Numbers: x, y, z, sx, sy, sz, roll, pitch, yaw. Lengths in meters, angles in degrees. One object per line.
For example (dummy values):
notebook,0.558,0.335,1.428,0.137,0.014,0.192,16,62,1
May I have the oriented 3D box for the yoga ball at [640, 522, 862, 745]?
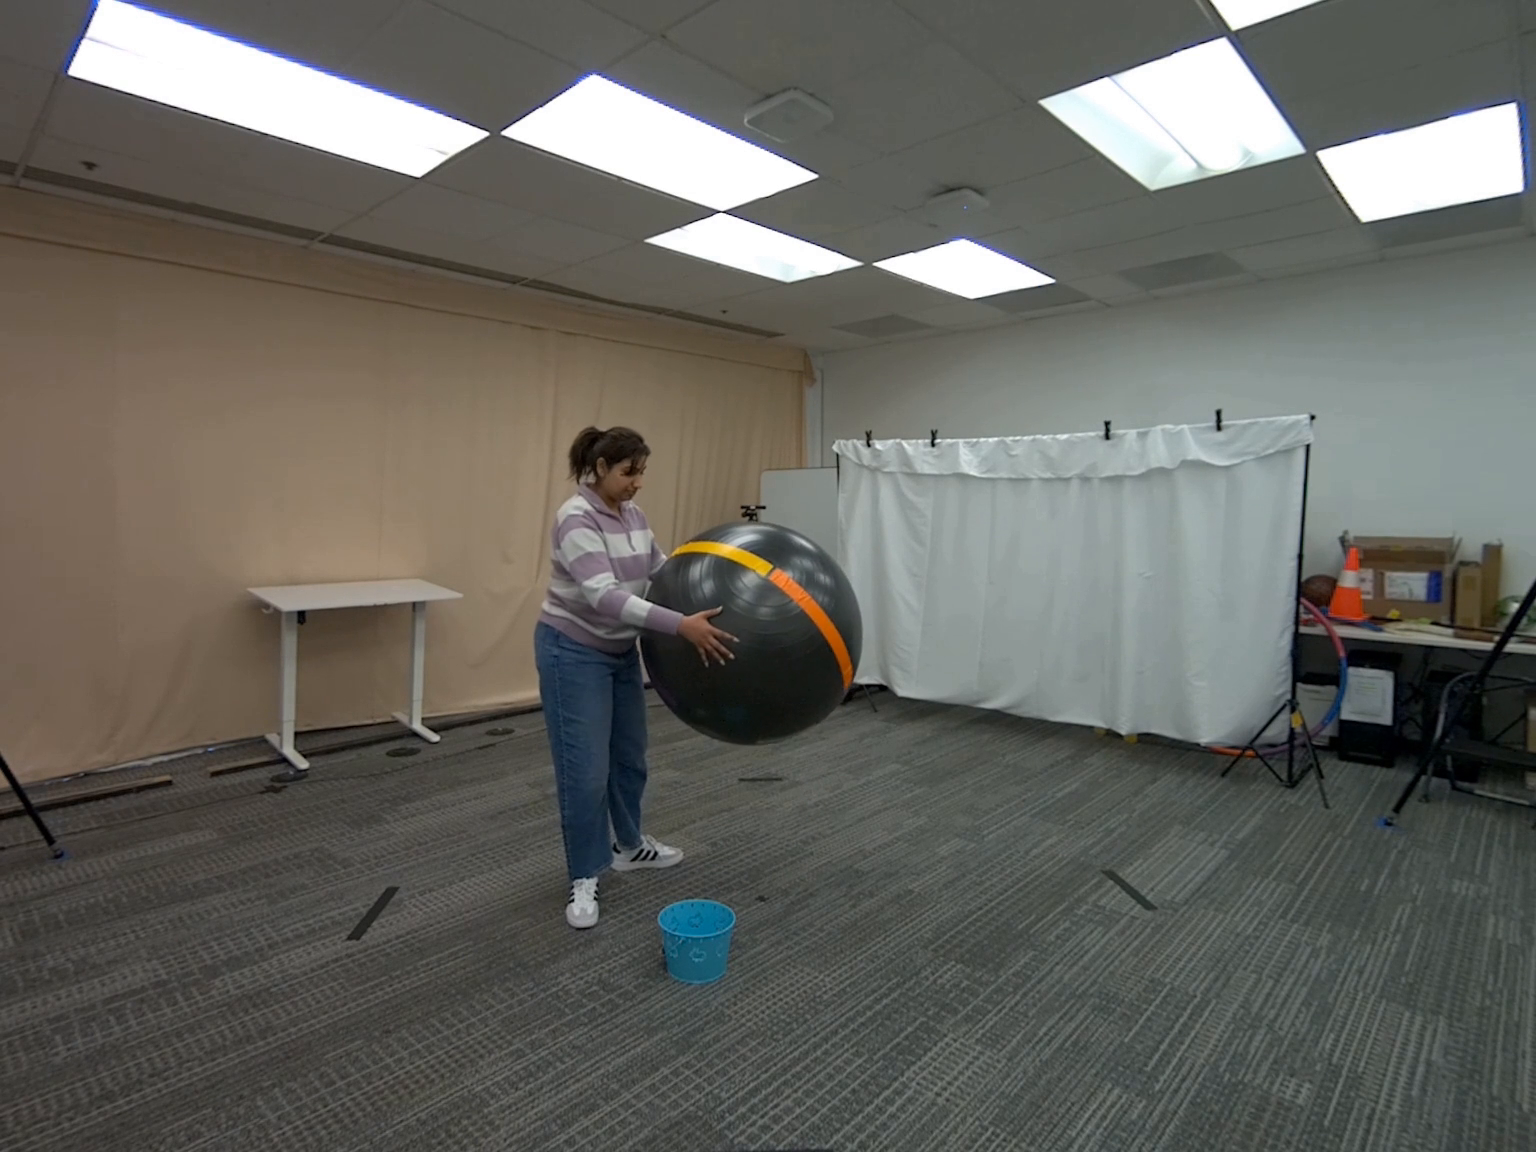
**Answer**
yoga ball,-0.059,0.199,2.892,0.757,0.756,0.761,0,4,-2
